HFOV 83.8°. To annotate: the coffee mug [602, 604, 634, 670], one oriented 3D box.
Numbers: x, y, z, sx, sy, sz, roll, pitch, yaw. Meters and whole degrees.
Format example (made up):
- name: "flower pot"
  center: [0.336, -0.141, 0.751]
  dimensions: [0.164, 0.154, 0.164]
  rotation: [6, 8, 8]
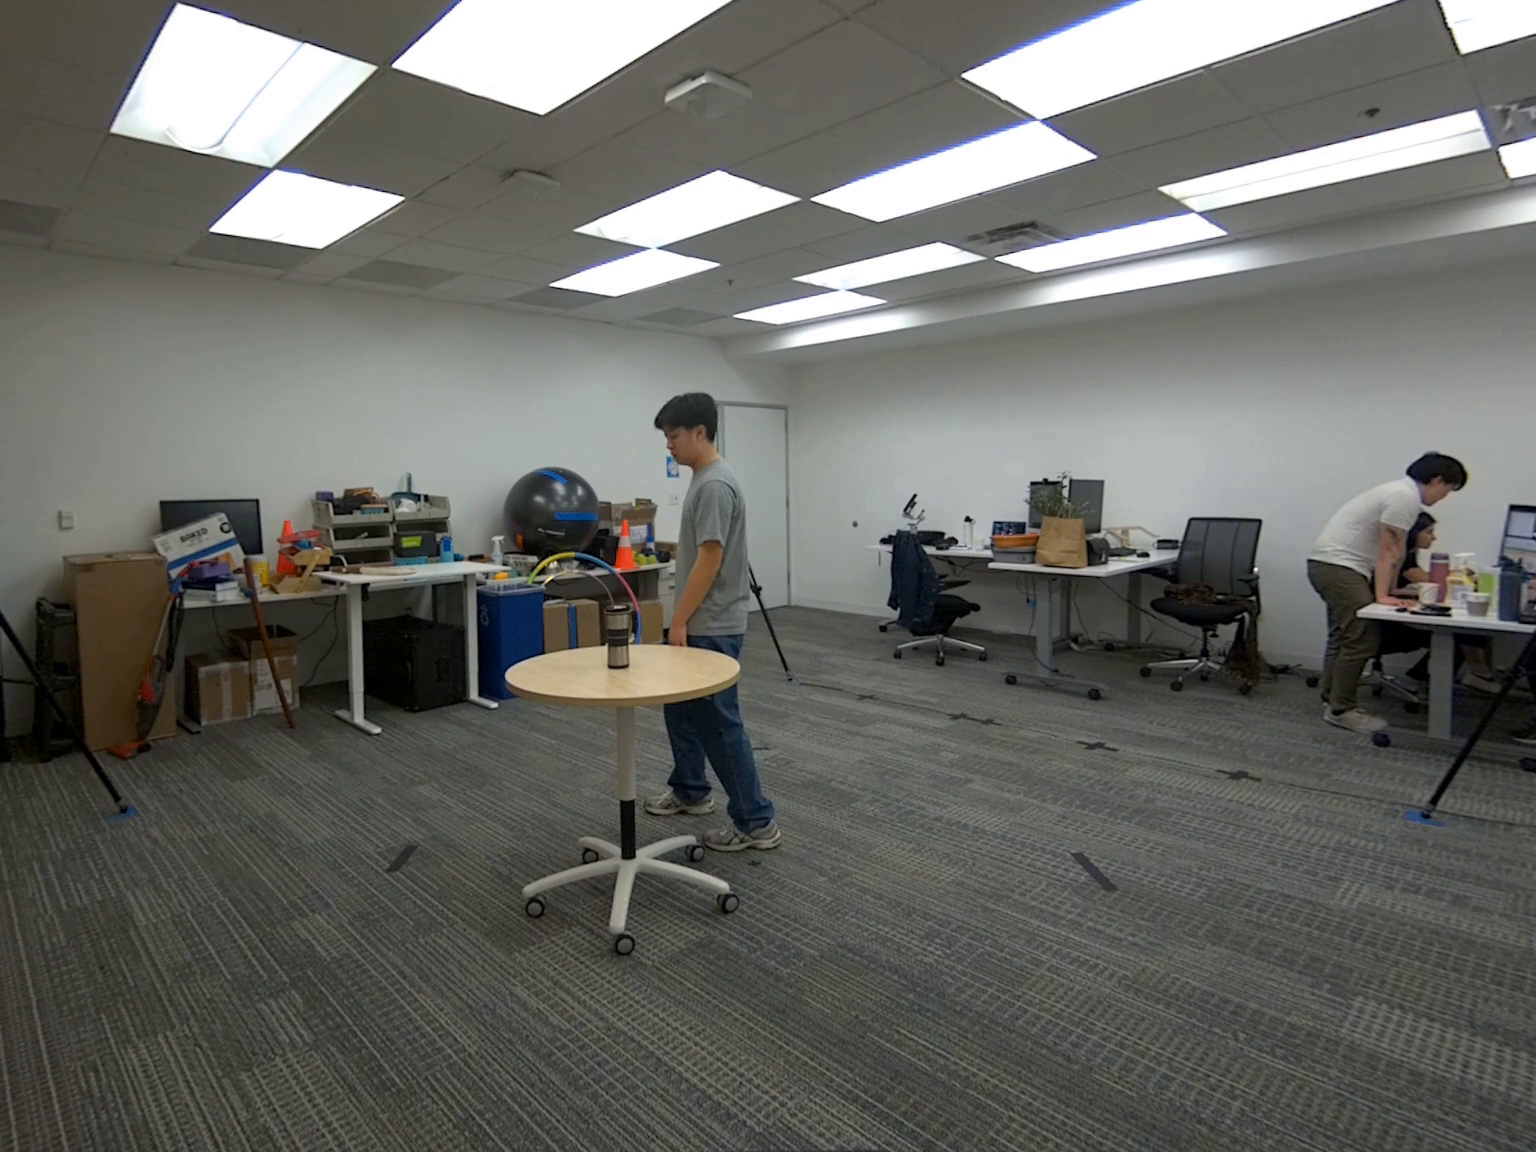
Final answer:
- name: "coffee mug"
  center: [-0.481, 0.201, 2.831]
  dimensions: [0.120, 0.202, 0.089]
  rotation: [-7, 2, -21]
